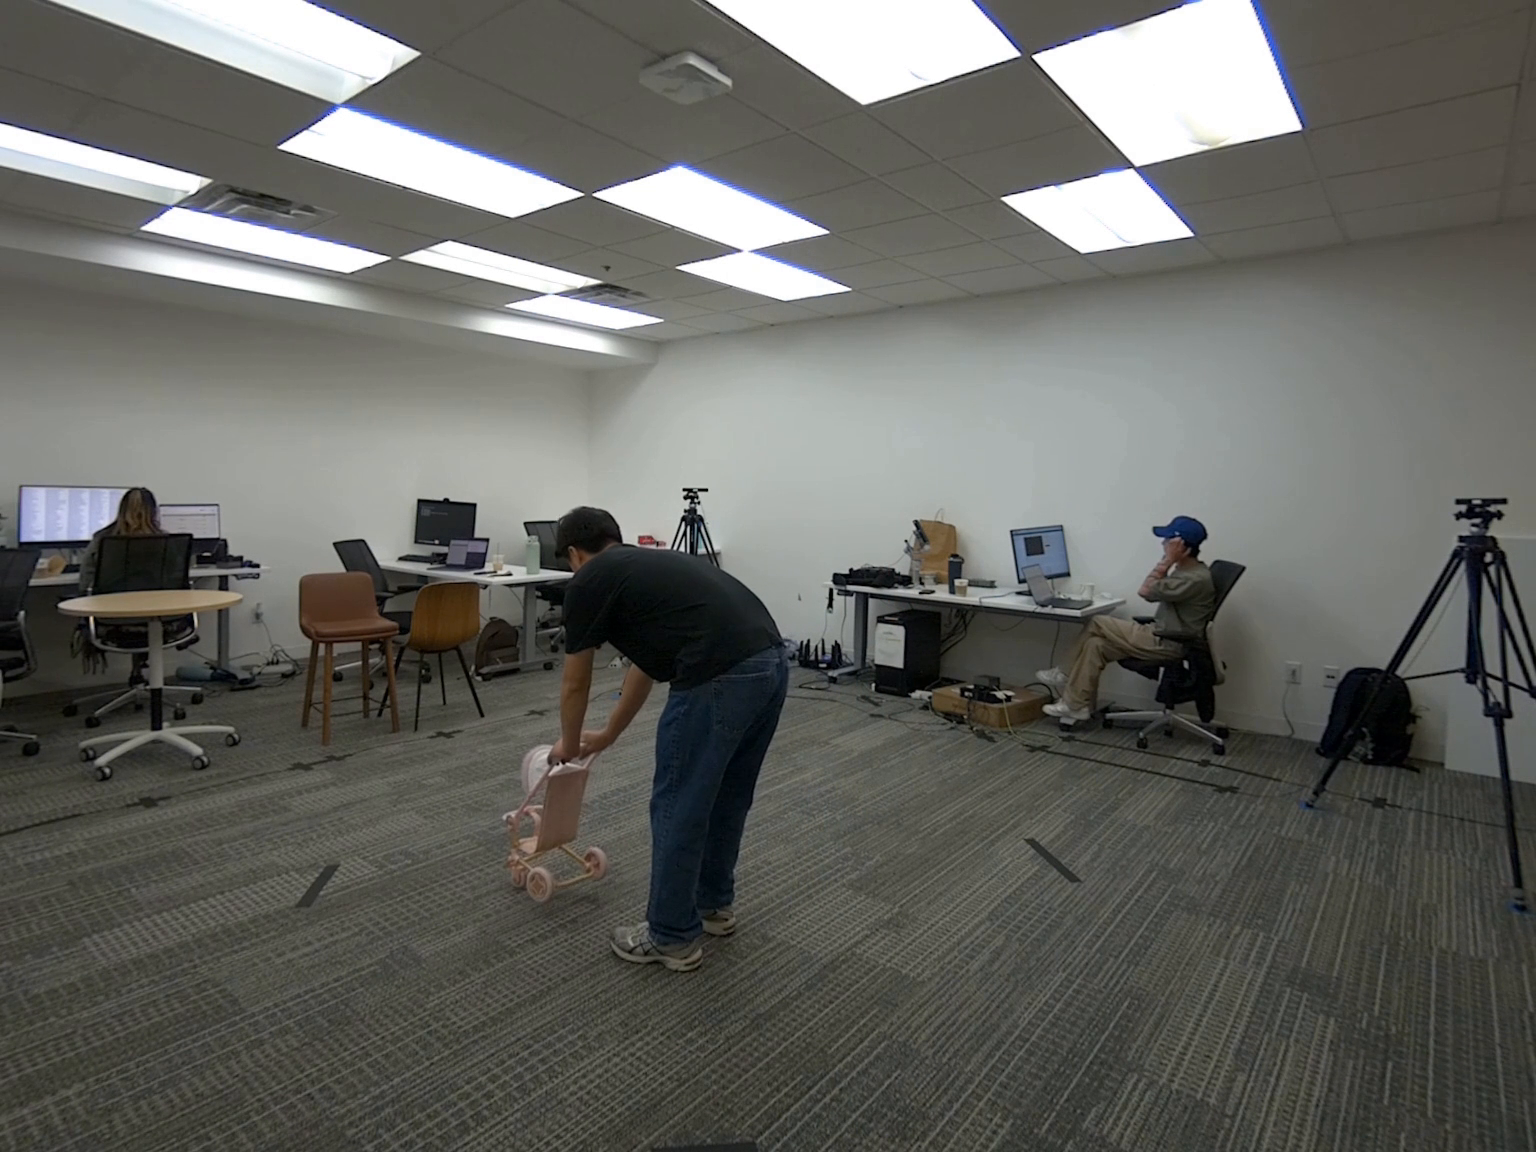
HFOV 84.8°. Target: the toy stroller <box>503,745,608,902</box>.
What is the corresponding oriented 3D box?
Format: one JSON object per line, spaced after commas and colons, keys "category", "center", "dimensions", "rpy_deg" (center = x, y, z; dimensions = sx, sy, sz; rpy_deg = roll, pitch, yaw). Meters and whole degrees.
{"category": "toy stroller", "center": [-0.752, 0.821, 2.874], "dimensions": [0.352, 0.535, 0.272], "rpy_deg": [3, 0, 39]}
